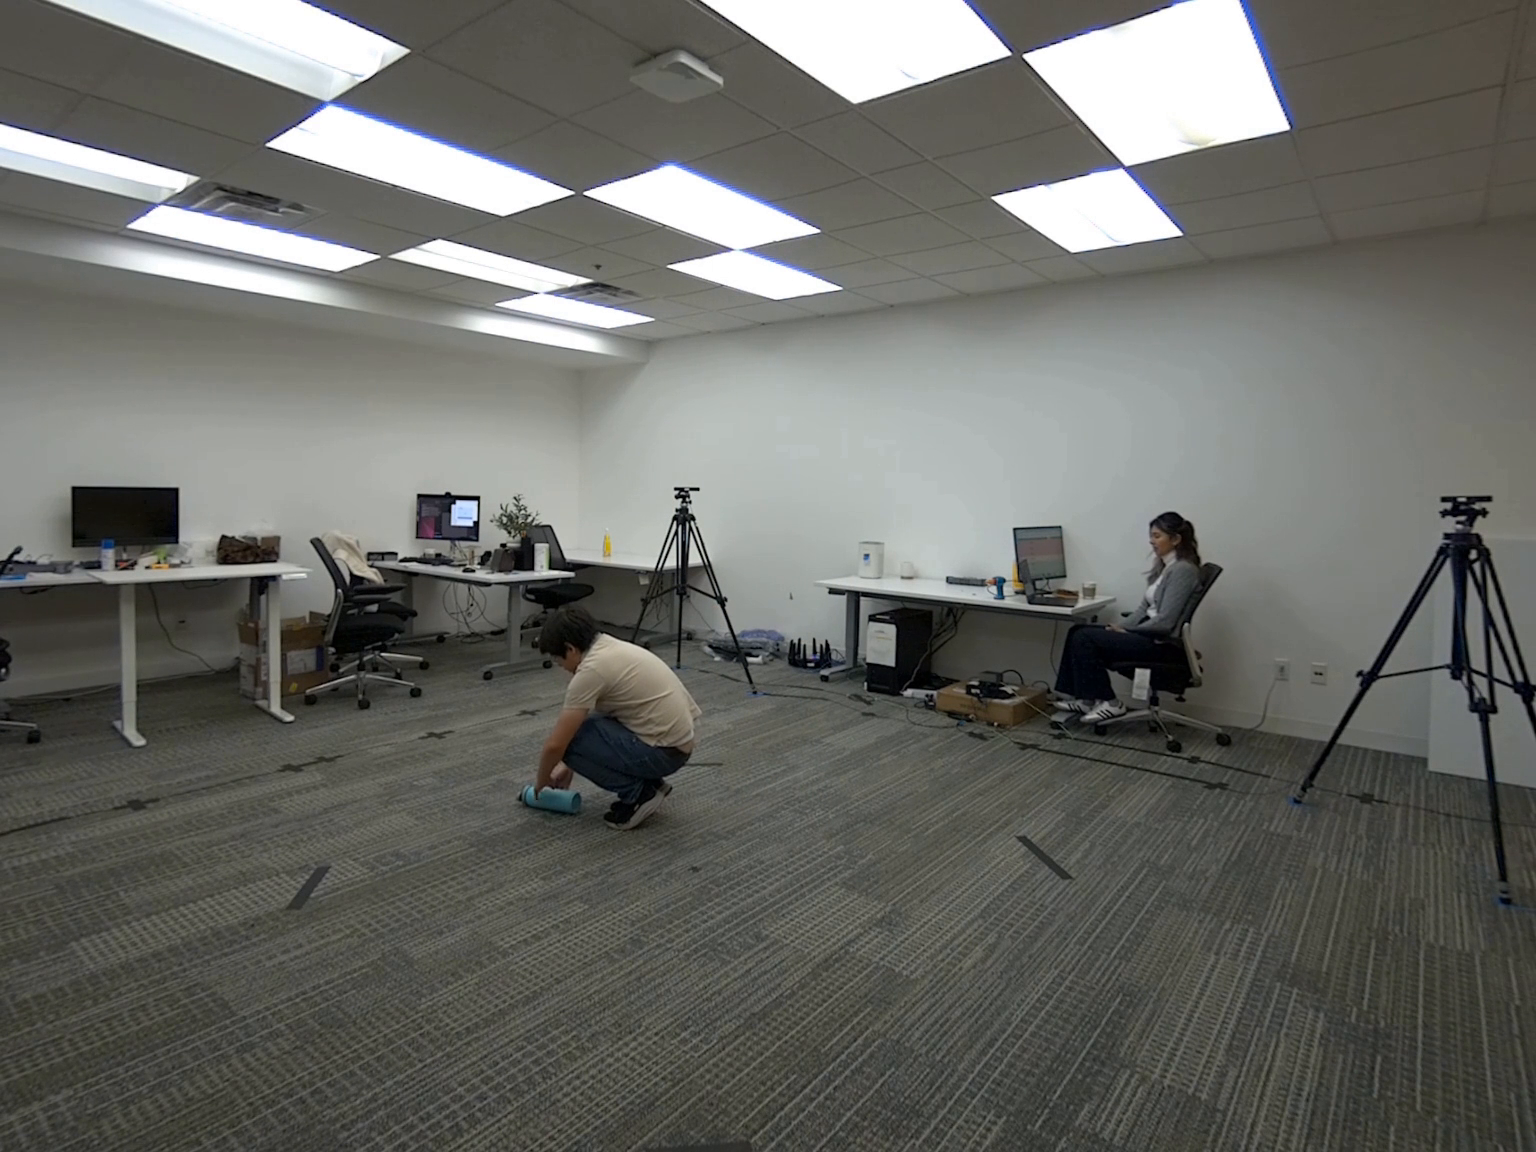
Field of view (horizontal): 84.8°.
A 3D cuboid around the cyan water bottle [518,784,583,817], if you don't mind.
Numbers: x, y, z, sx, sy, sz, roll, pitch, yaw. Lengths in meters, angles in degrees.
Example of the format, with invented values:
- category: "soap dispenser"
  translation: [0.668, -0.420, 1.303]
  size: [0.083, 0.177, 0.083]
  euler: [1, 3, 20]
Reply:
- category: "cyan water bottle"
  translation: [-0.963, 0.954, 3.670]
  size: [0.290, 0.092, 0.090]
  euler: [2, 4, 21]
